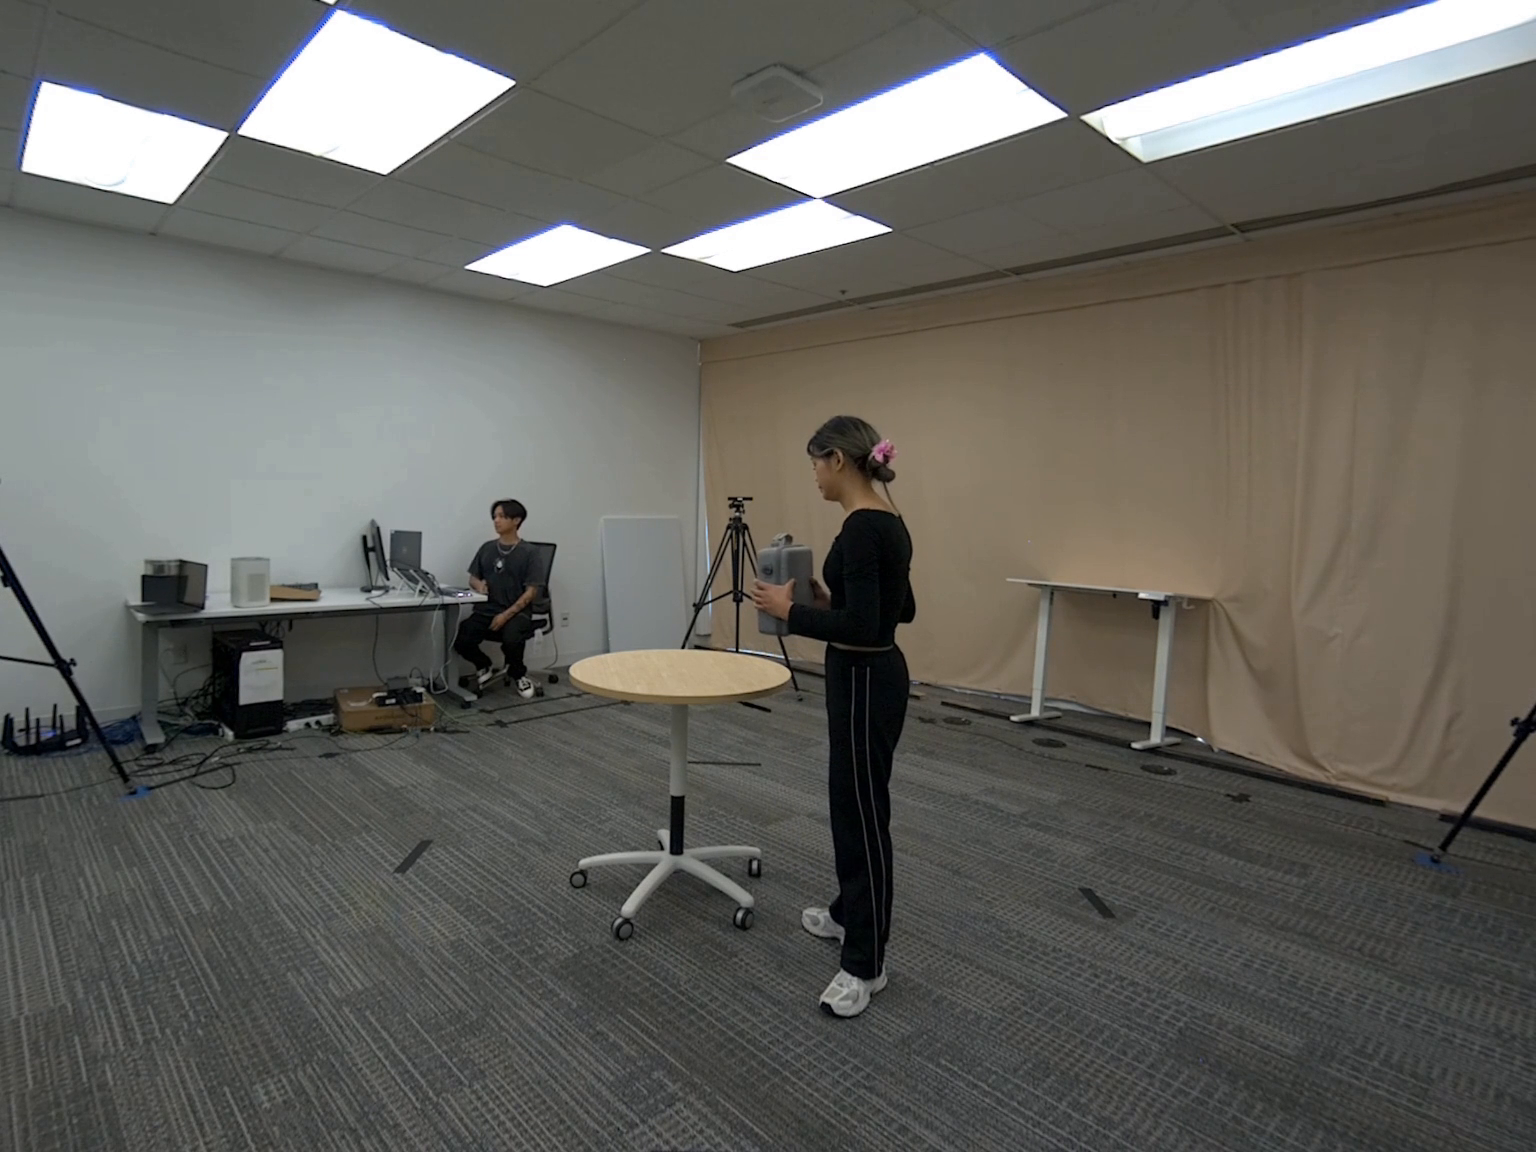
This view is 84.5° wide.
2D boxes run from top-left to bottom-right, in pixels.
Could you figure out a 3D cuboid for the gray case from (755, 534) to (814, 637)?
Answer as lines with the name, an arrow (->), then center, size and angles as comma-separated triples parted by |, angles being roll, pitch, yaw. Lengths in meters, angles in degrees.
gray case -> 0.049, 0.037, 2.470 | 0.106, 0.260, 0.253 | -4, 1, 20
